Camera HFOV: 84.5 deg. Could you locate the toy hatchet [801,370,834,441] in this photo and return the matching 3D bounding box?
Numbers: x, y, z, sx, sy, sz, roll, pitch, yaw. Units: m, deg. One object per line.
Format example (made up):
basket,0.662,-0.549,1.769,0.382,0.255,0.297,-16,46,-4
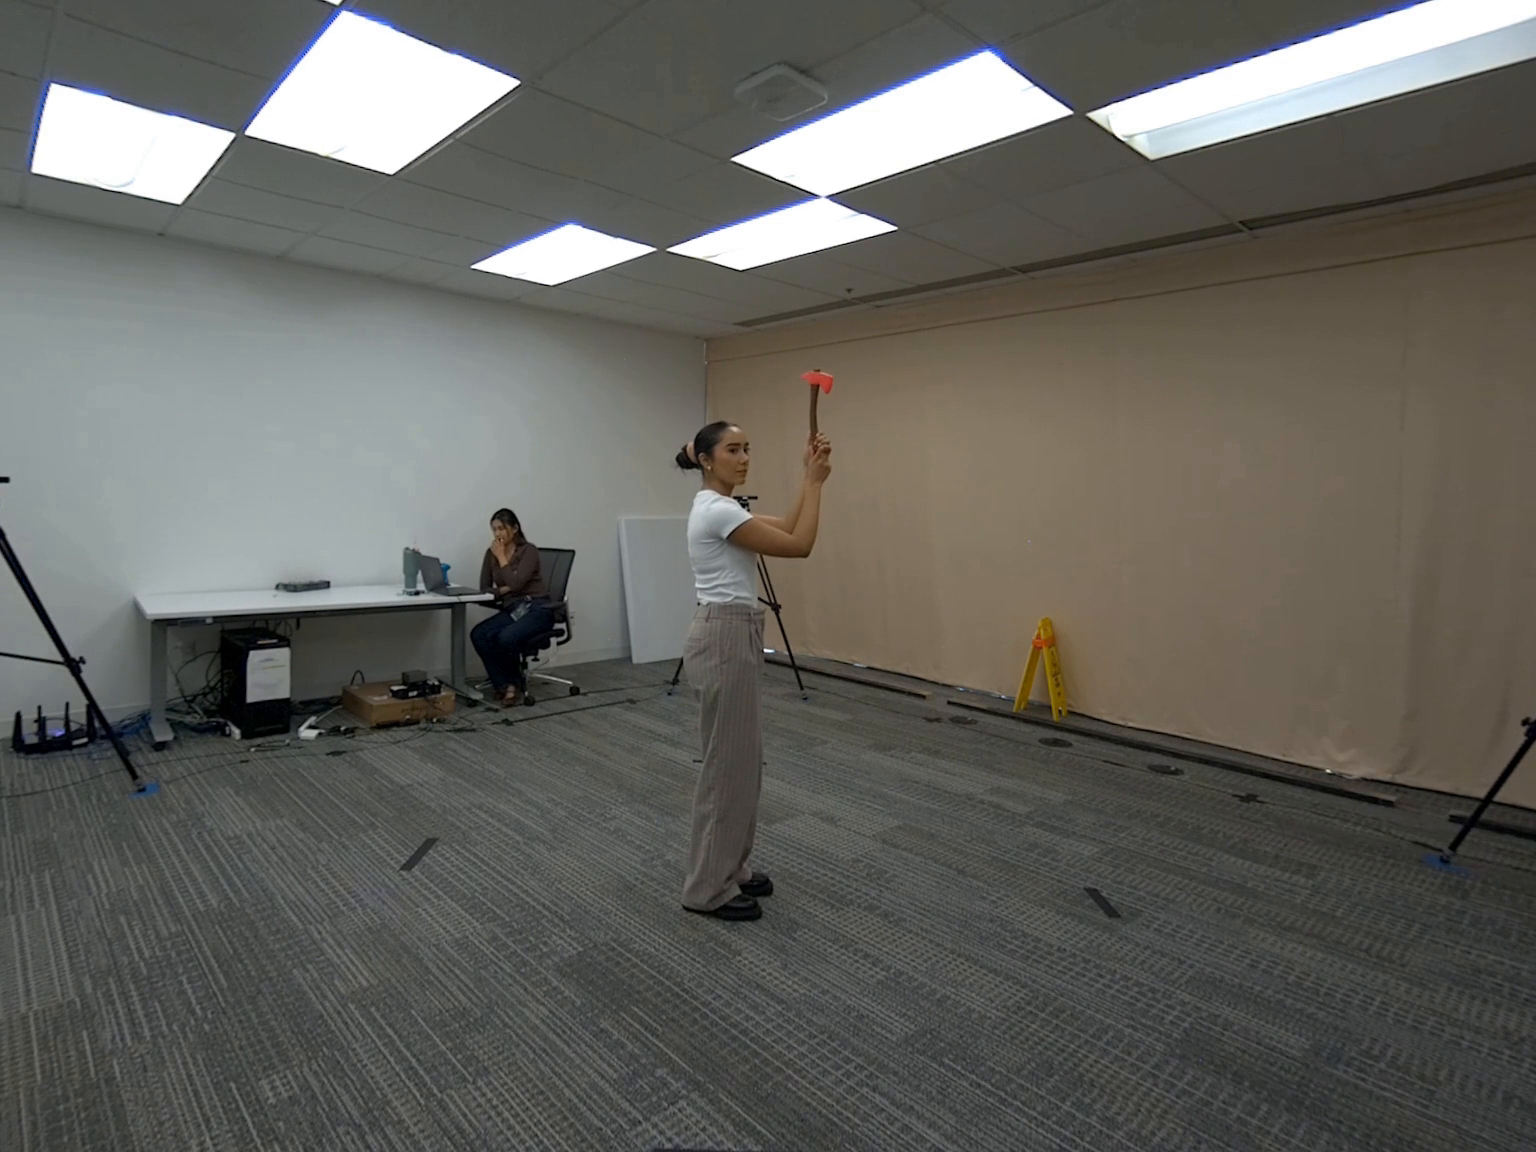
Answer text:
toy hatchet,0.176,-0.558,2.808,0.133,0.271,0.029,-11,-3,40
